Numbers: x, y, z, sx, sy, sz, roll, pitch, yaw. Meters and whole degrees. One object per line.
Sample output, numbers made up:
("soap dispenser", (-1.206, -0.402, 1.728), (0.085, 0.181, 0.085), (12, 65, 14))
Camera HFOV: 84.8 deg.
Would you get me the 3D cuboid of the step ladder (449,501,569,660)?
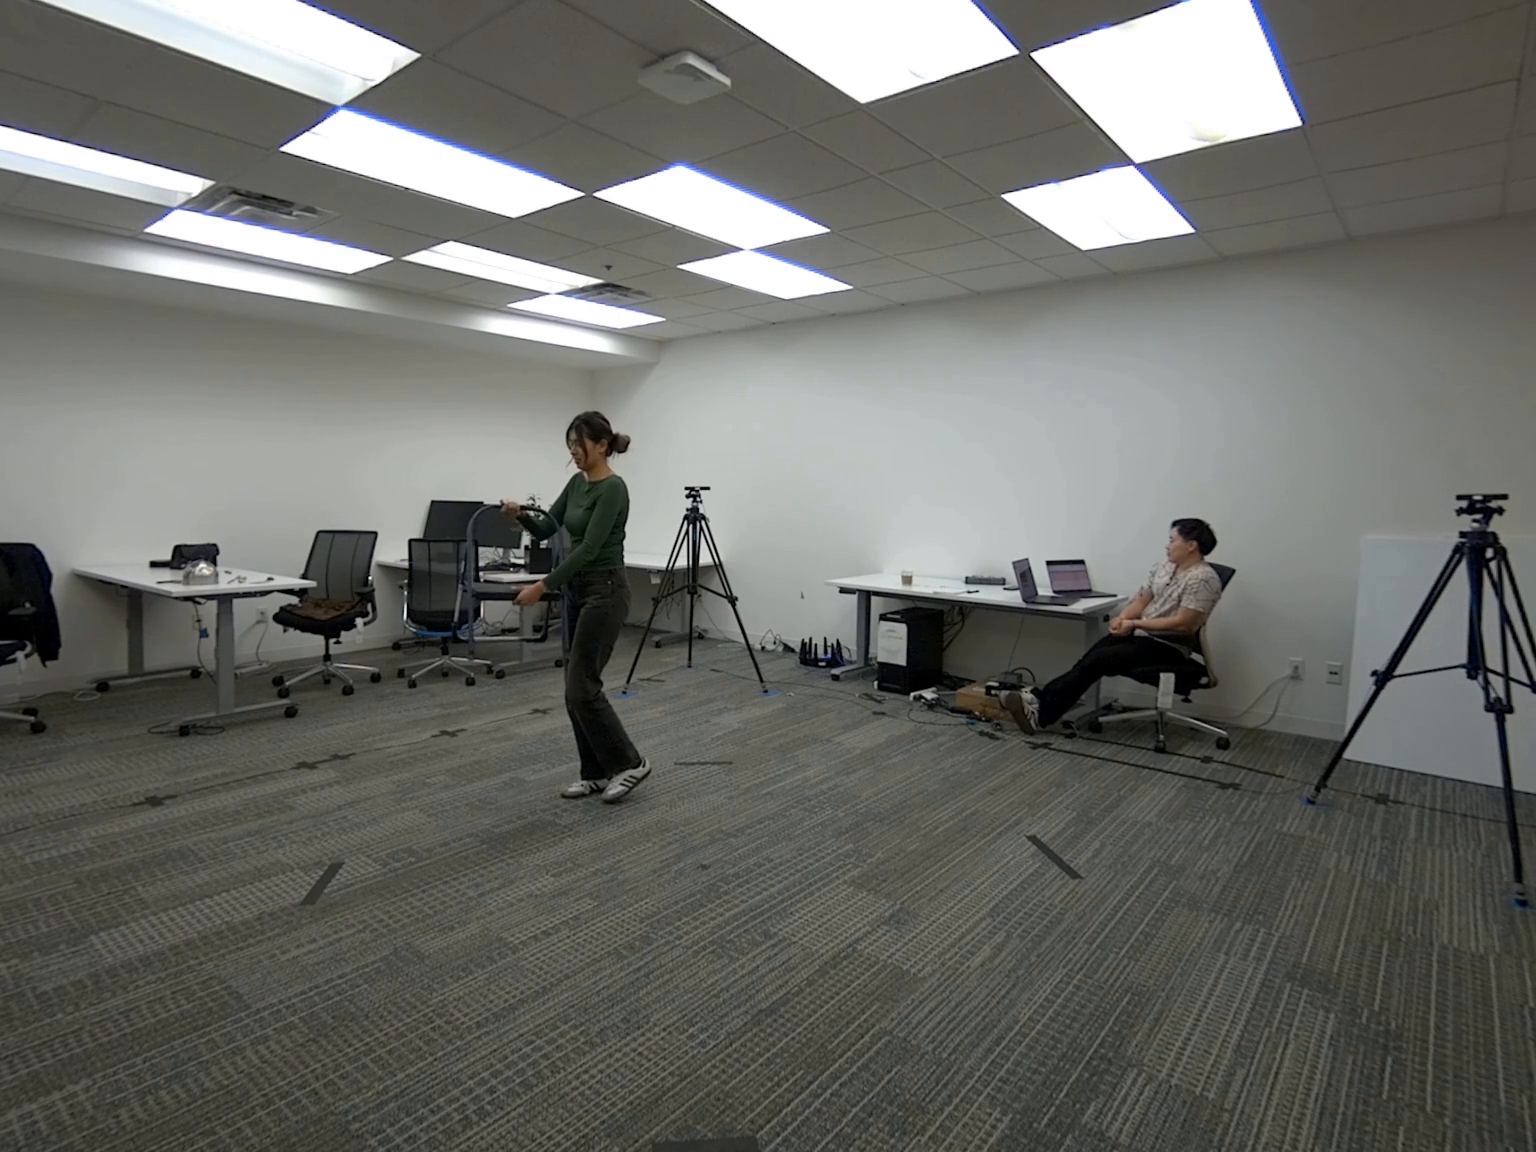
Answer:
("step ladder", (-1.058, 0.010, 3.540), (0.418, 0.605, 0.360), (4, 3, -32))
